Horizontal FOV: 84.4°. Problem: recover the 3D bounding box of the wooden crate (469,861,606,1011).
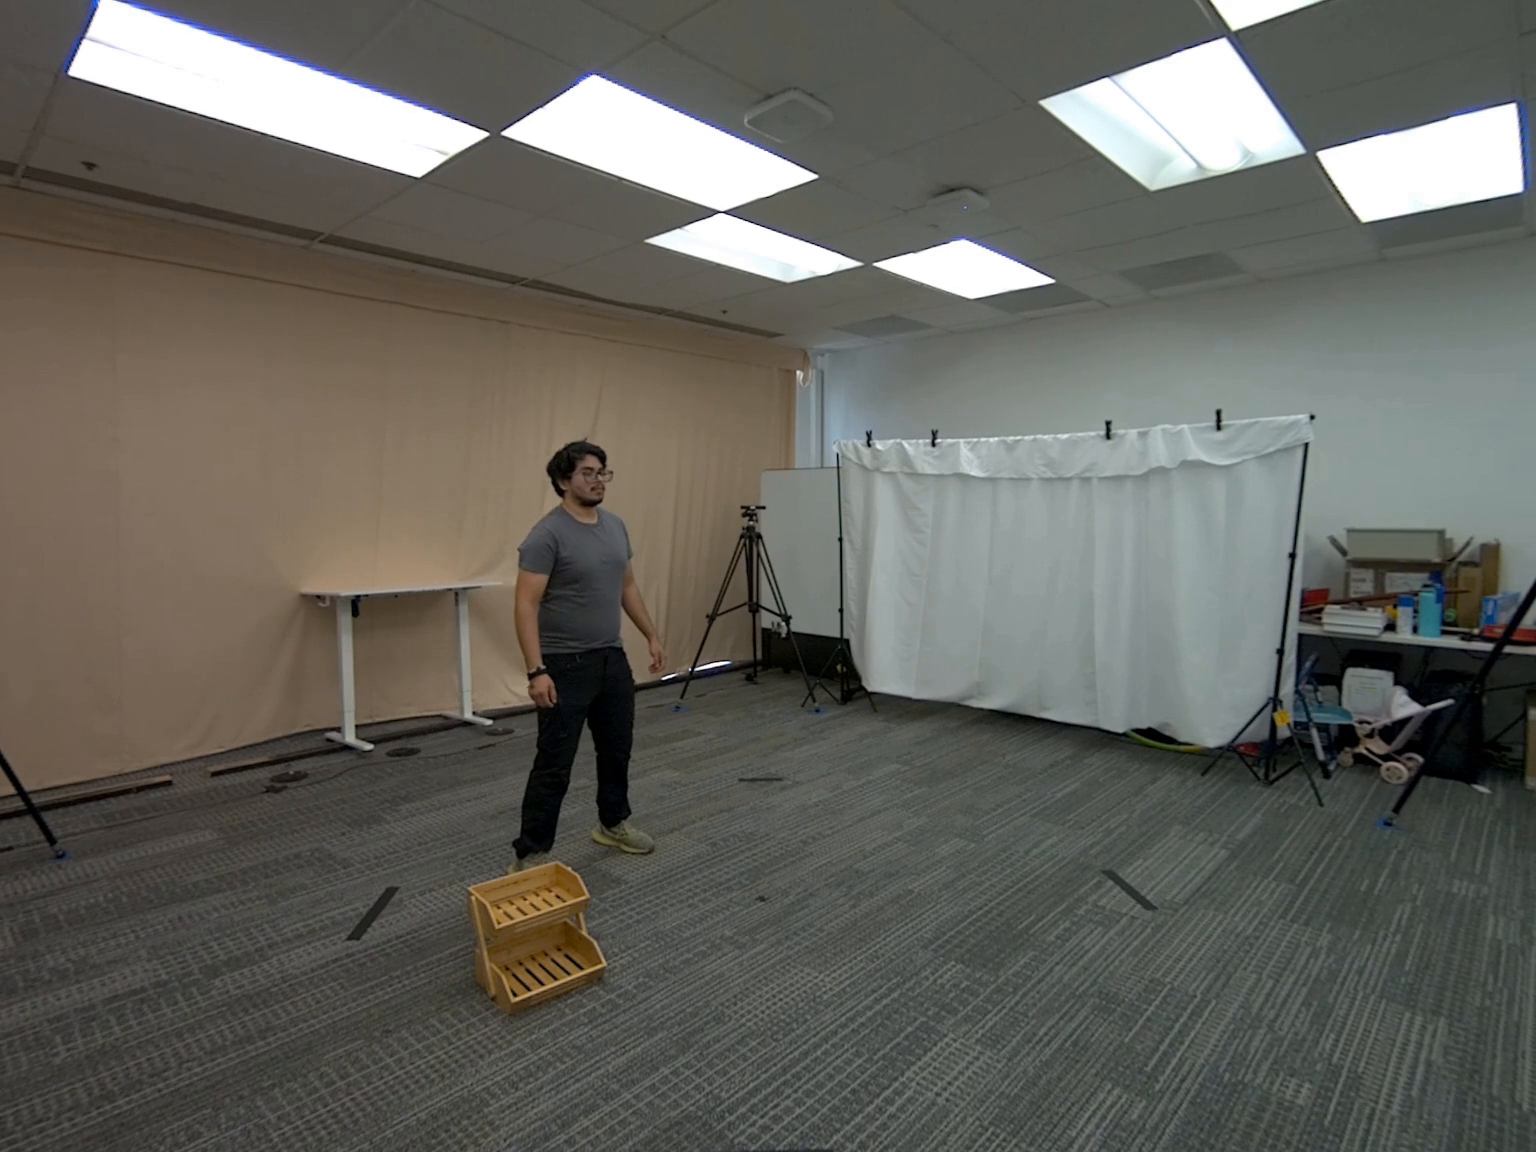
[{"bbox_3d":[-0.684,1.062,2.481,0.315,0.273,0.312,-4,5,-41],"label":"wooden crate"}]
